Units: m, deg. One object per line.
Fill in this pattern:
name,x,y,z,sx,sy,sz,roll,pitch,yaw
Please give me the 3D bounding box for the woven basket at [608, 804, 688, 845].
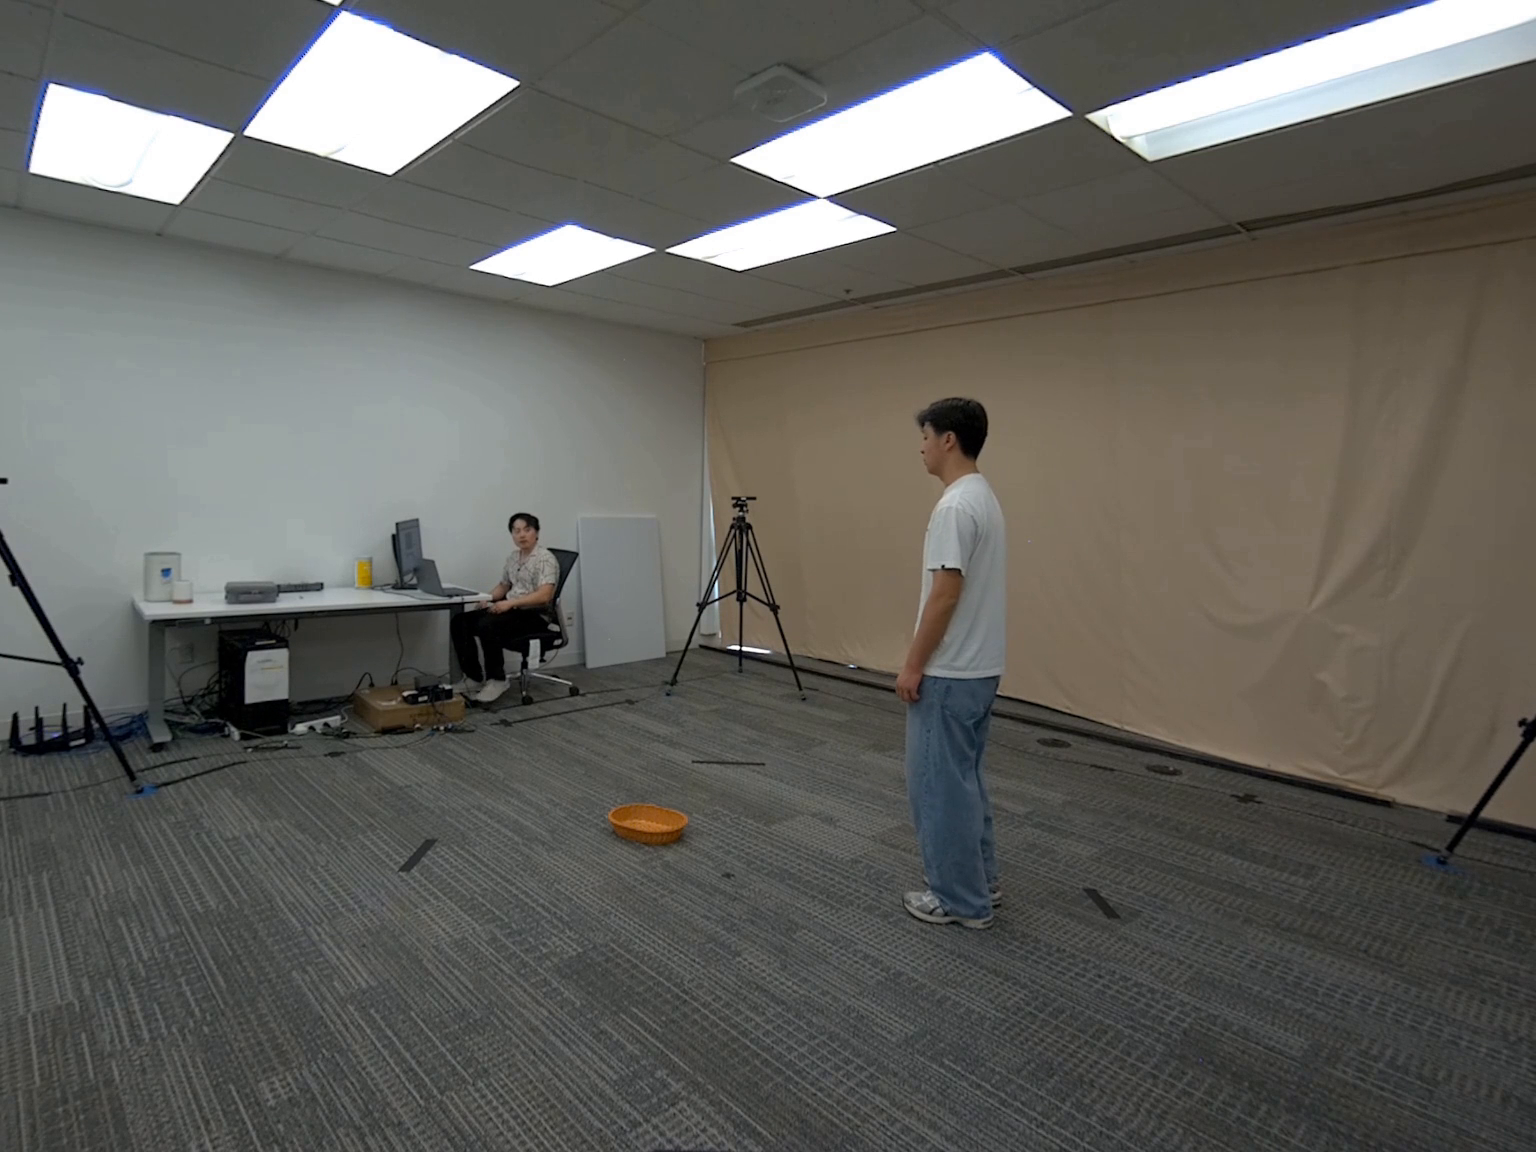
woven basket,-0.506,1.027,3.472,0.358,0.073,0.247,5,6,30
